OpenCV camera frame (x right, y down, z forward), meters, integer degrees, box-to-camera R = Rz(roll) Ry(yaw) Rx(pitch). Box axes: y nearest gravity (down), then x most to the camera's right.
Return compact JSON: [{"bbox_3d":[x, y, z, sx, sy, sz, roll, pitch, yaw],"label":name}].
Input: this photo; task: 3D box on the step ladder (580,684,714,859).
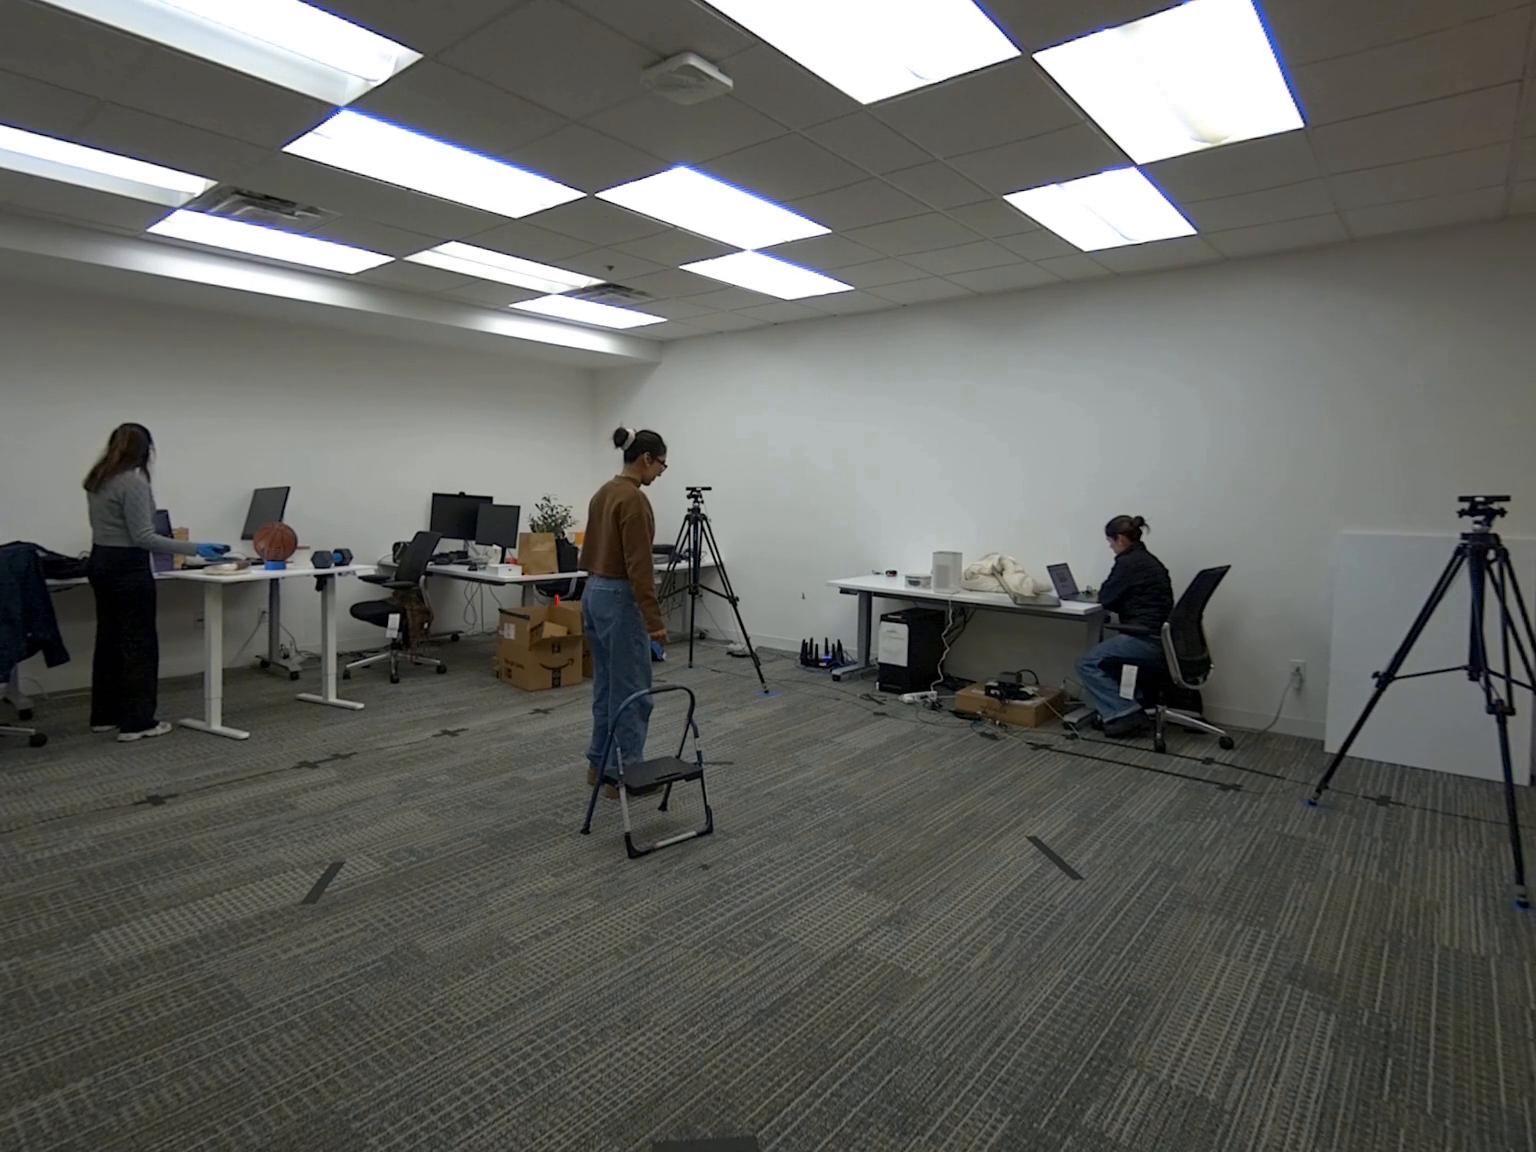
[{"bbox_3d":[-0.491,0.729,3.416,0.417,0.604,0.361,-2,5,-44],"label":"step ladder"}]
